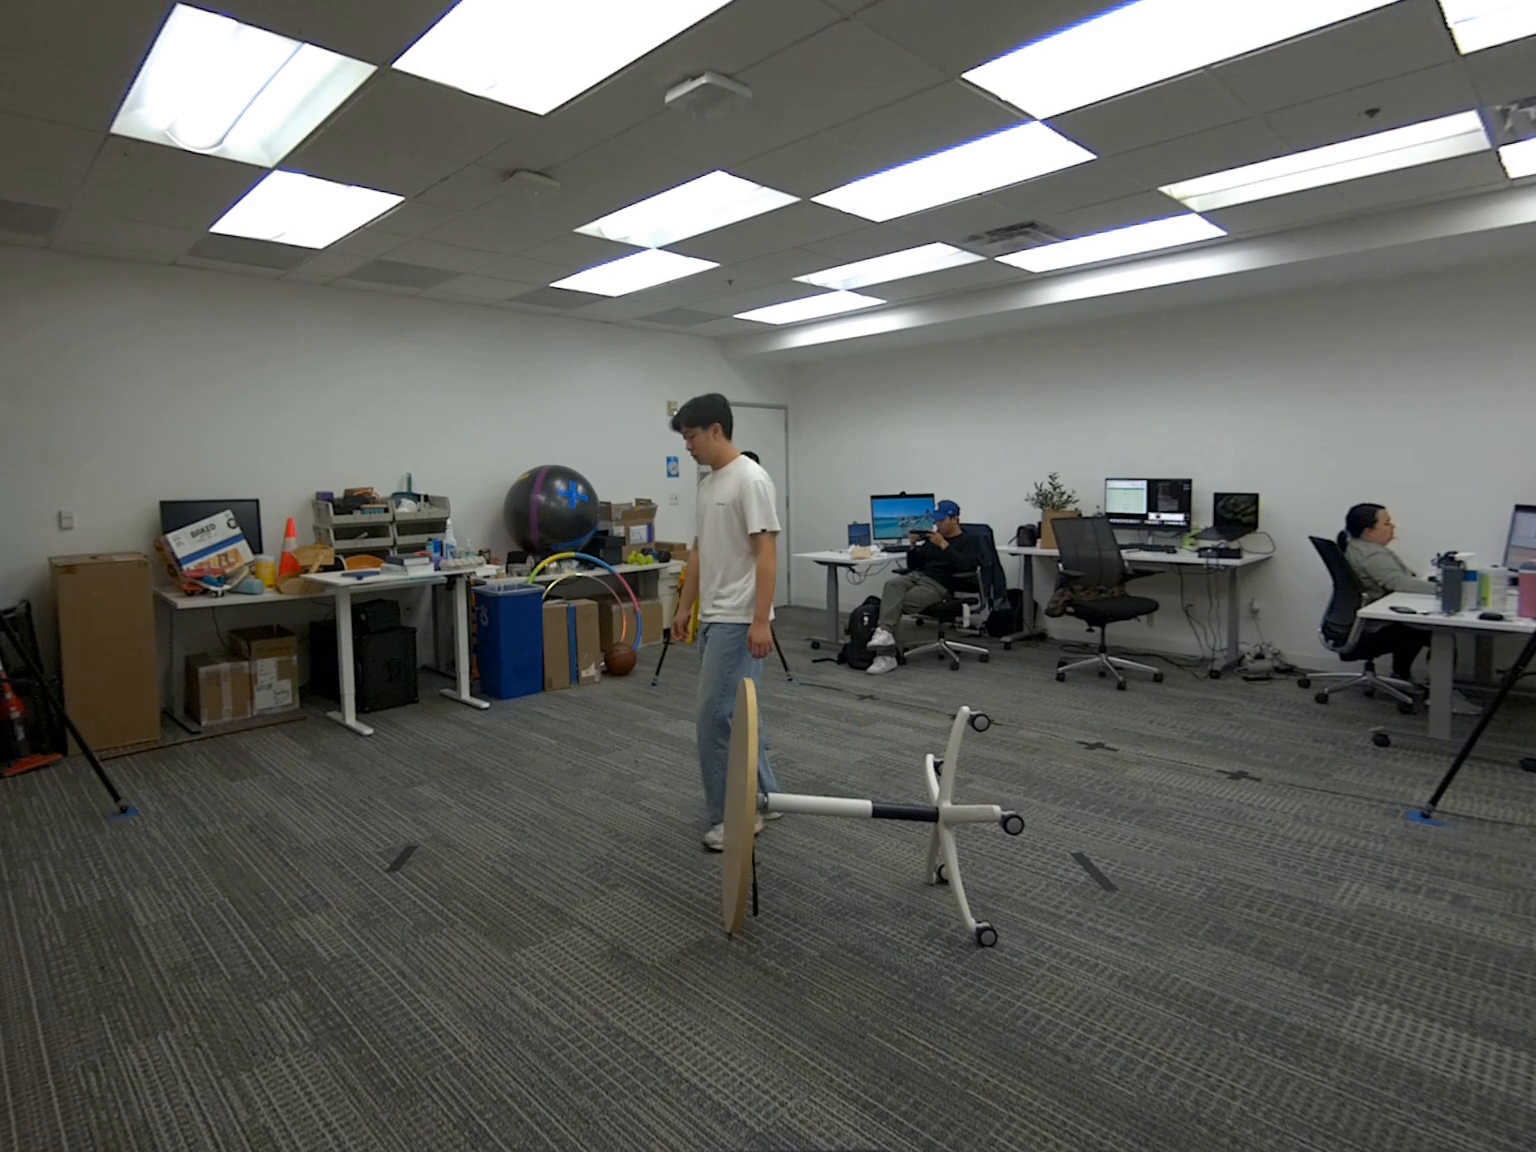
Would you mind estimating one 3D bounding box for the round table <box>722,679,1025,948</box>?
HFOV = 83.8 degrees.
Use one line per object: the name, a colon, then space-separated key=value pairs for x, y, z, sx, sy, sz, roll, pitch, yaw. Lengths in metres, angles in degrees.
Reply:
round table: x=0.288 y=0.740 z=2.732 sx=0.782 sy=0.783 sz=0.792 roll=4 pitch=4 yaw=-6
